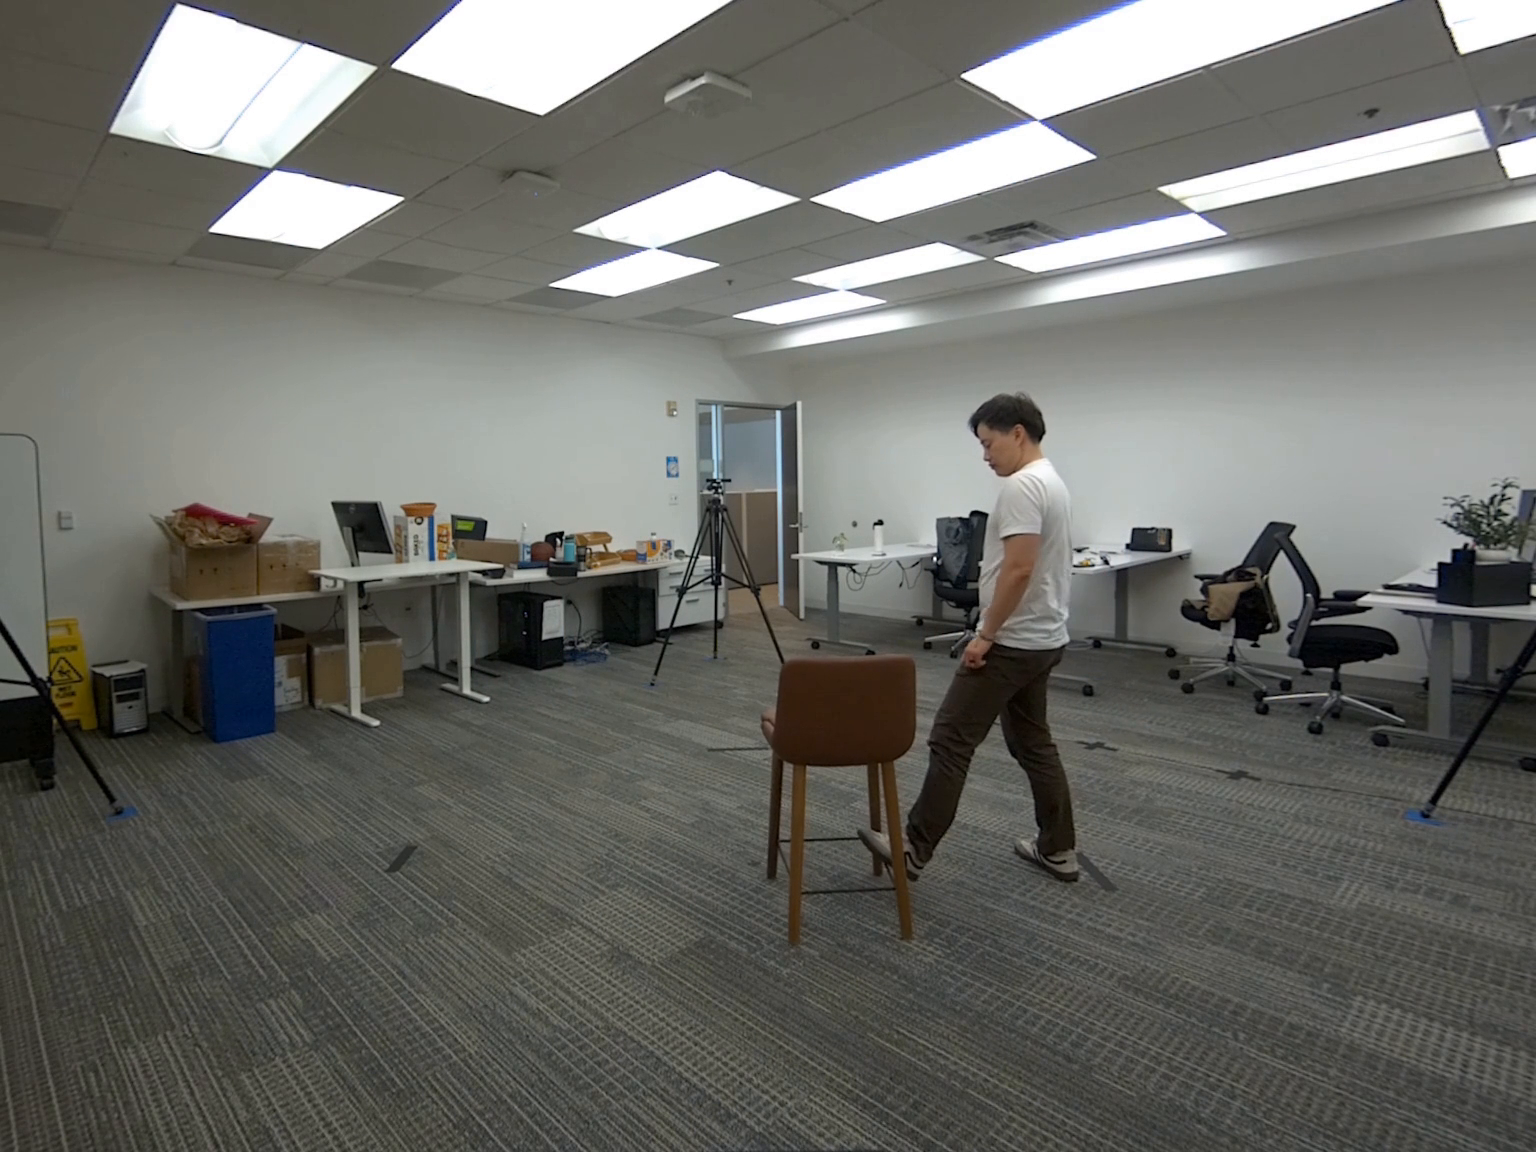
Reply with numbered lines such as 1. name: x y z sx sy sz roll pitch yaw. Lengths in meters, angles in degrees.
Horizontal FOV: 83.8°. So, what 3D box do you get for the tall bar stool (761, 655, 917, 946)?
1. tall bar stool: 0.217 0.646 2.750 0.455 0.885 0.472 -2 6 -4
